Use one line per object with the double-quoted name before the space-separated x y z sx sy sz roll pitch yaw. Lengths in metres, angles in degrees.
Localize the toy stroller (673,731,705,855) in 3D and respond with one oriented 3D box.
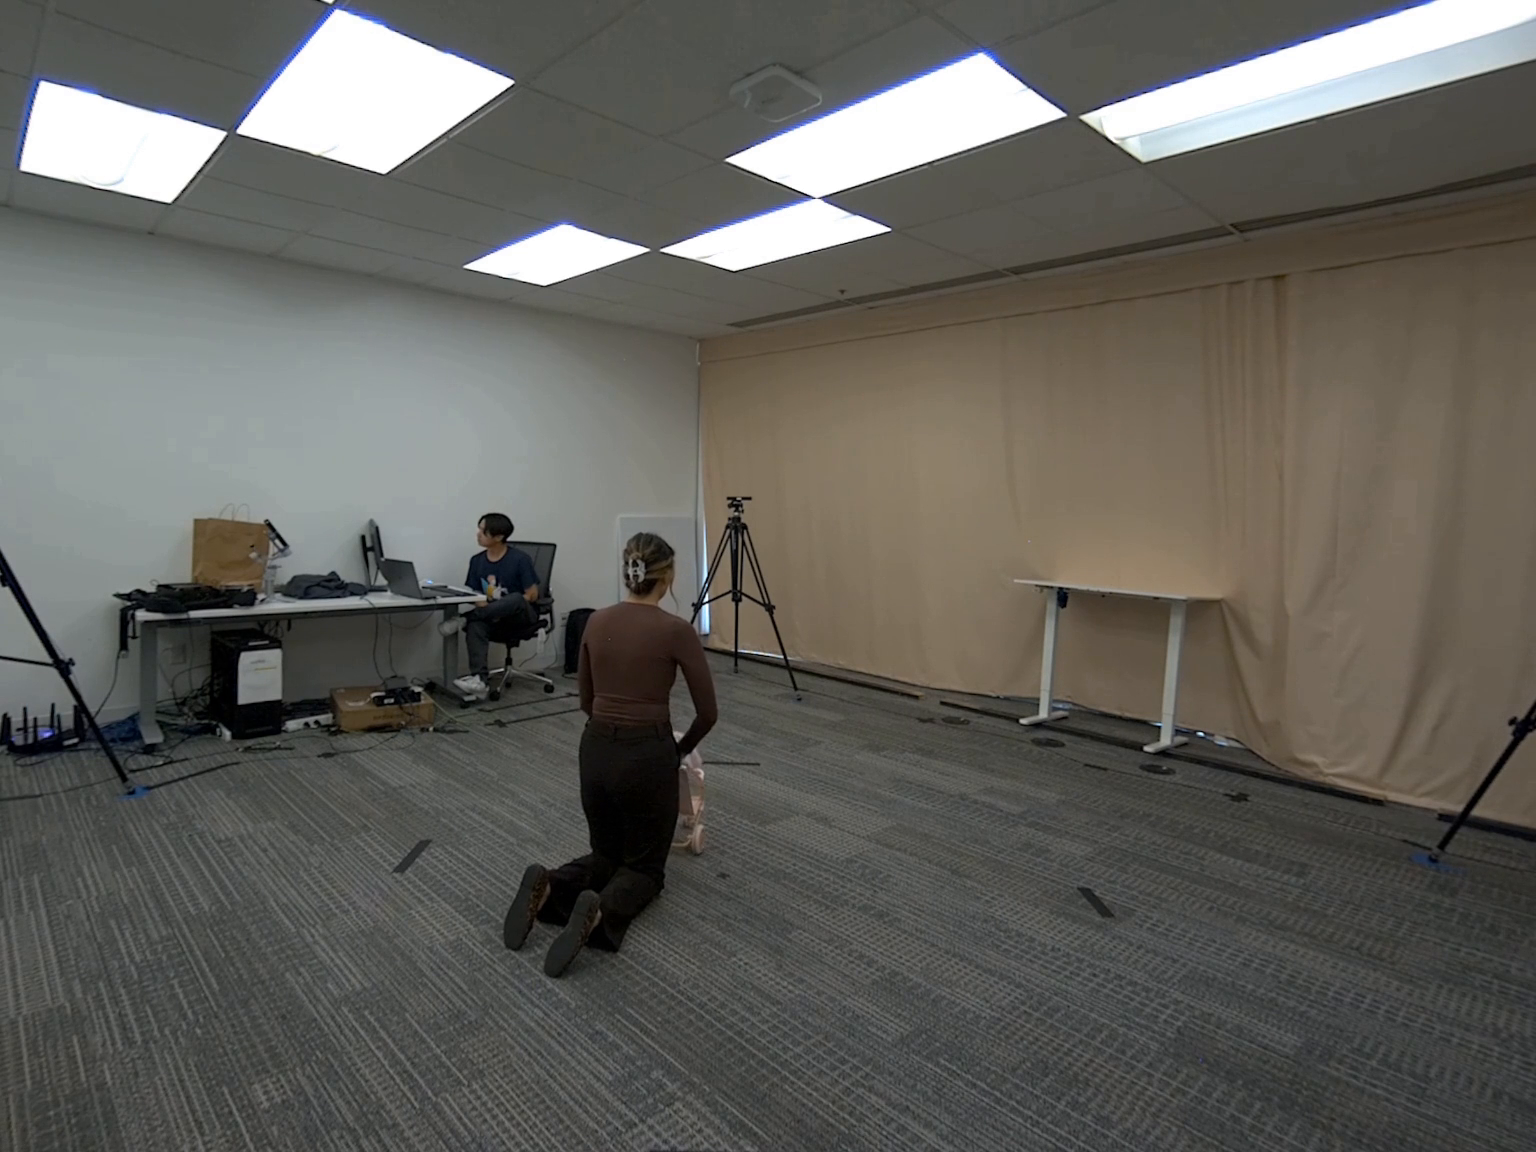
"toy stroller" -0.381 0.855 3.379 0.285 0.527 0.342 2 20 15
